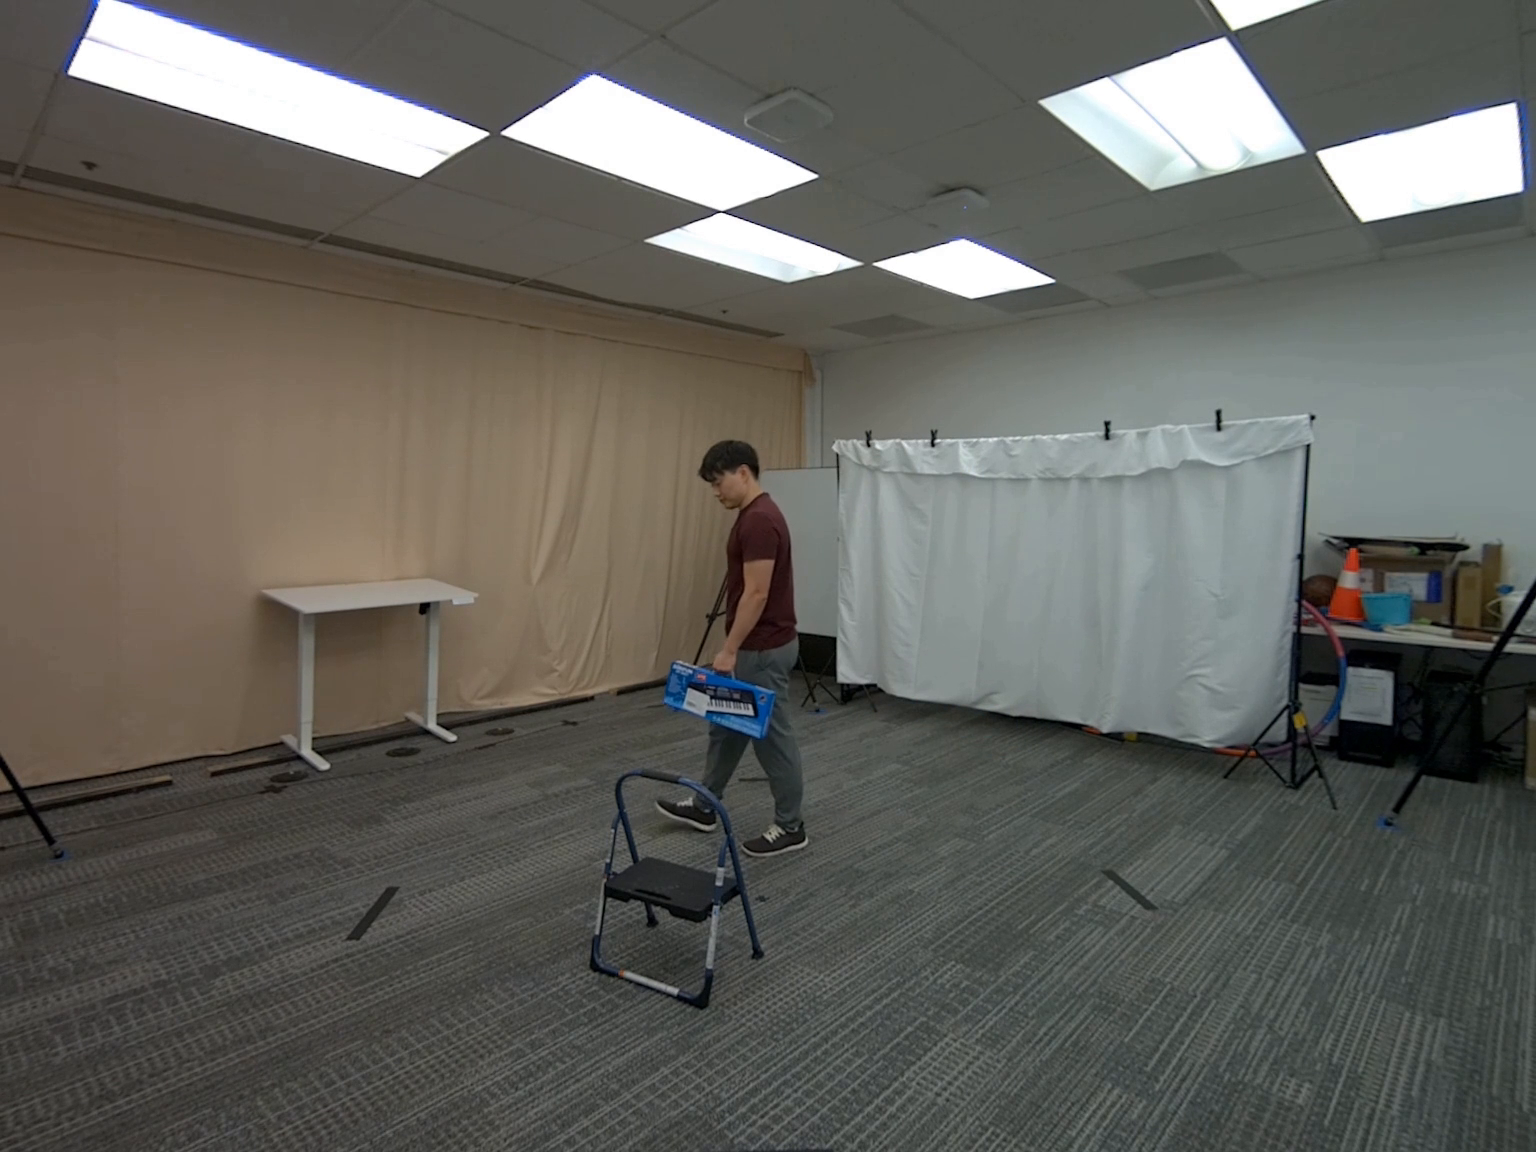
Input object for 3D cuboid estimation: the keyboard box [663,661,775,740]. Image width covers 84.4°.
[{"bbox_3d":[-0.178,0.465,3.224,0.449,0.176,0.057,14,2,26],"label":"keyboard box"}]
